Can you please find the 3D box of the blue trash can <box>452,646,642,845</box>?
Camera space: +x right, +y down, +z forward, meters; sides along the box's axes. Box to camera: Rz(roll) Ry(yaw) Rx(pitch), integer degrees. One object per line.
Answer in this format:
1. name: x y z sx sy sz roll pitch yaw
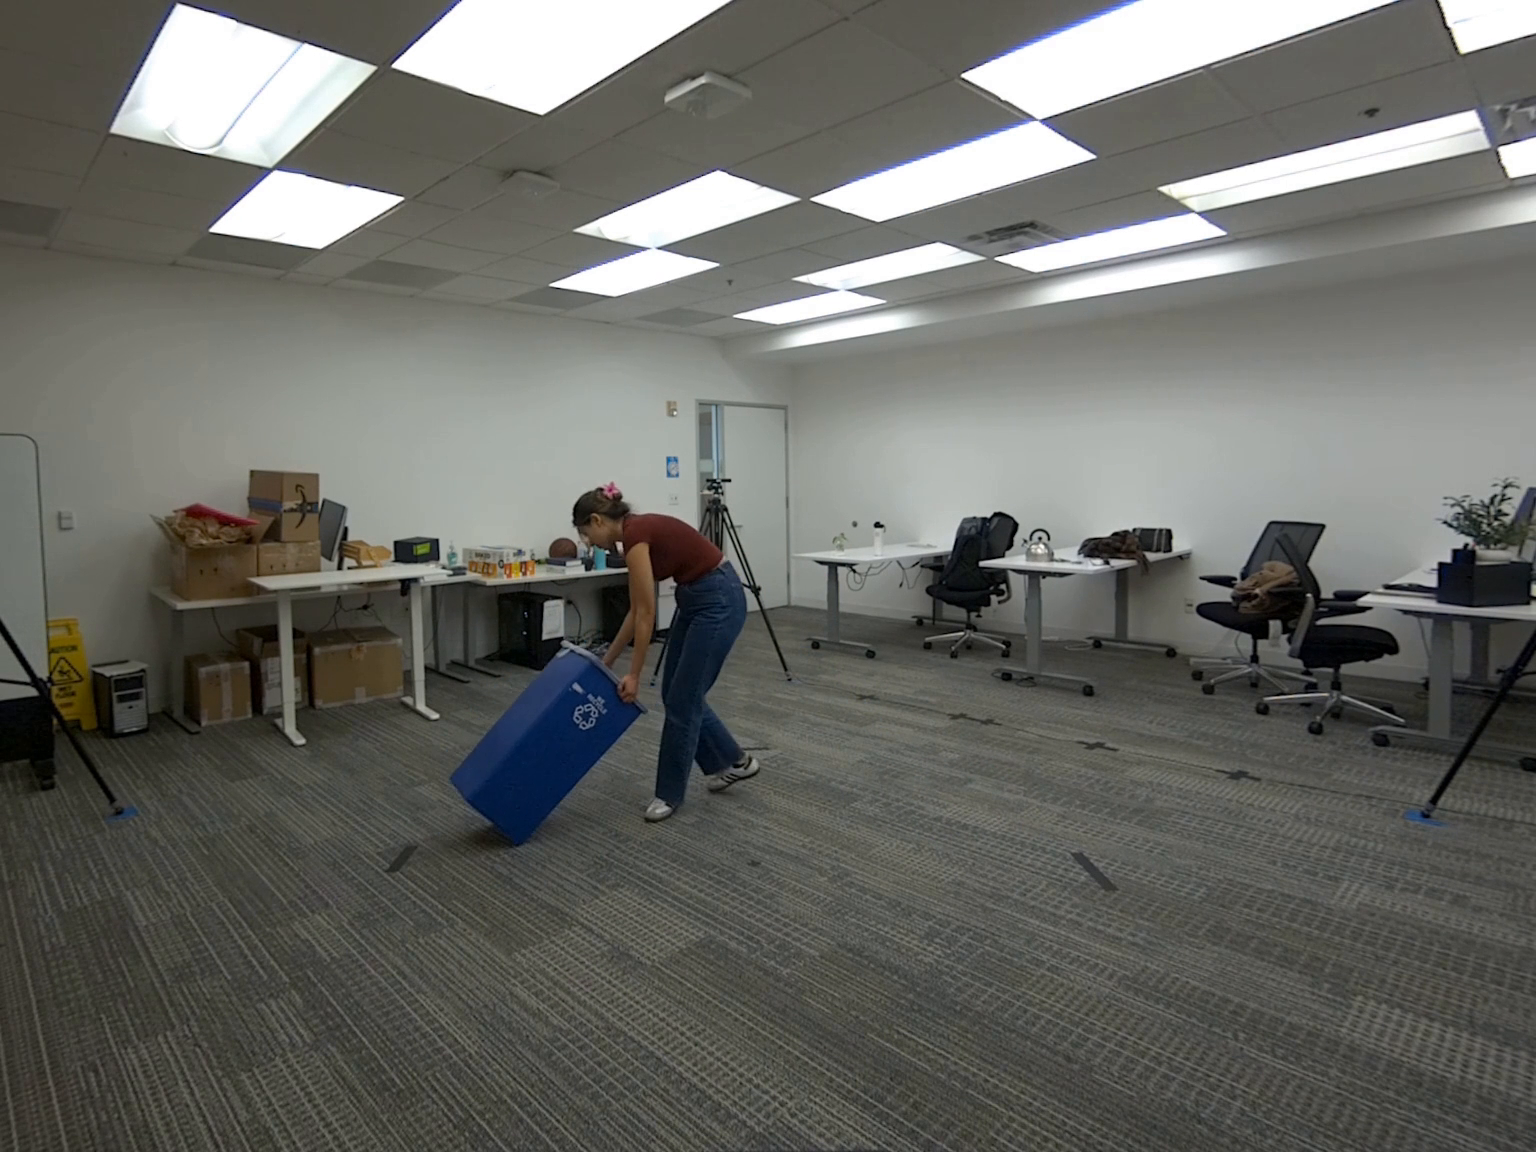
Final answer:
1. blue trash can: -0.893 0.673 3.478 0.714 0.363 0.389 -50 26 -18
